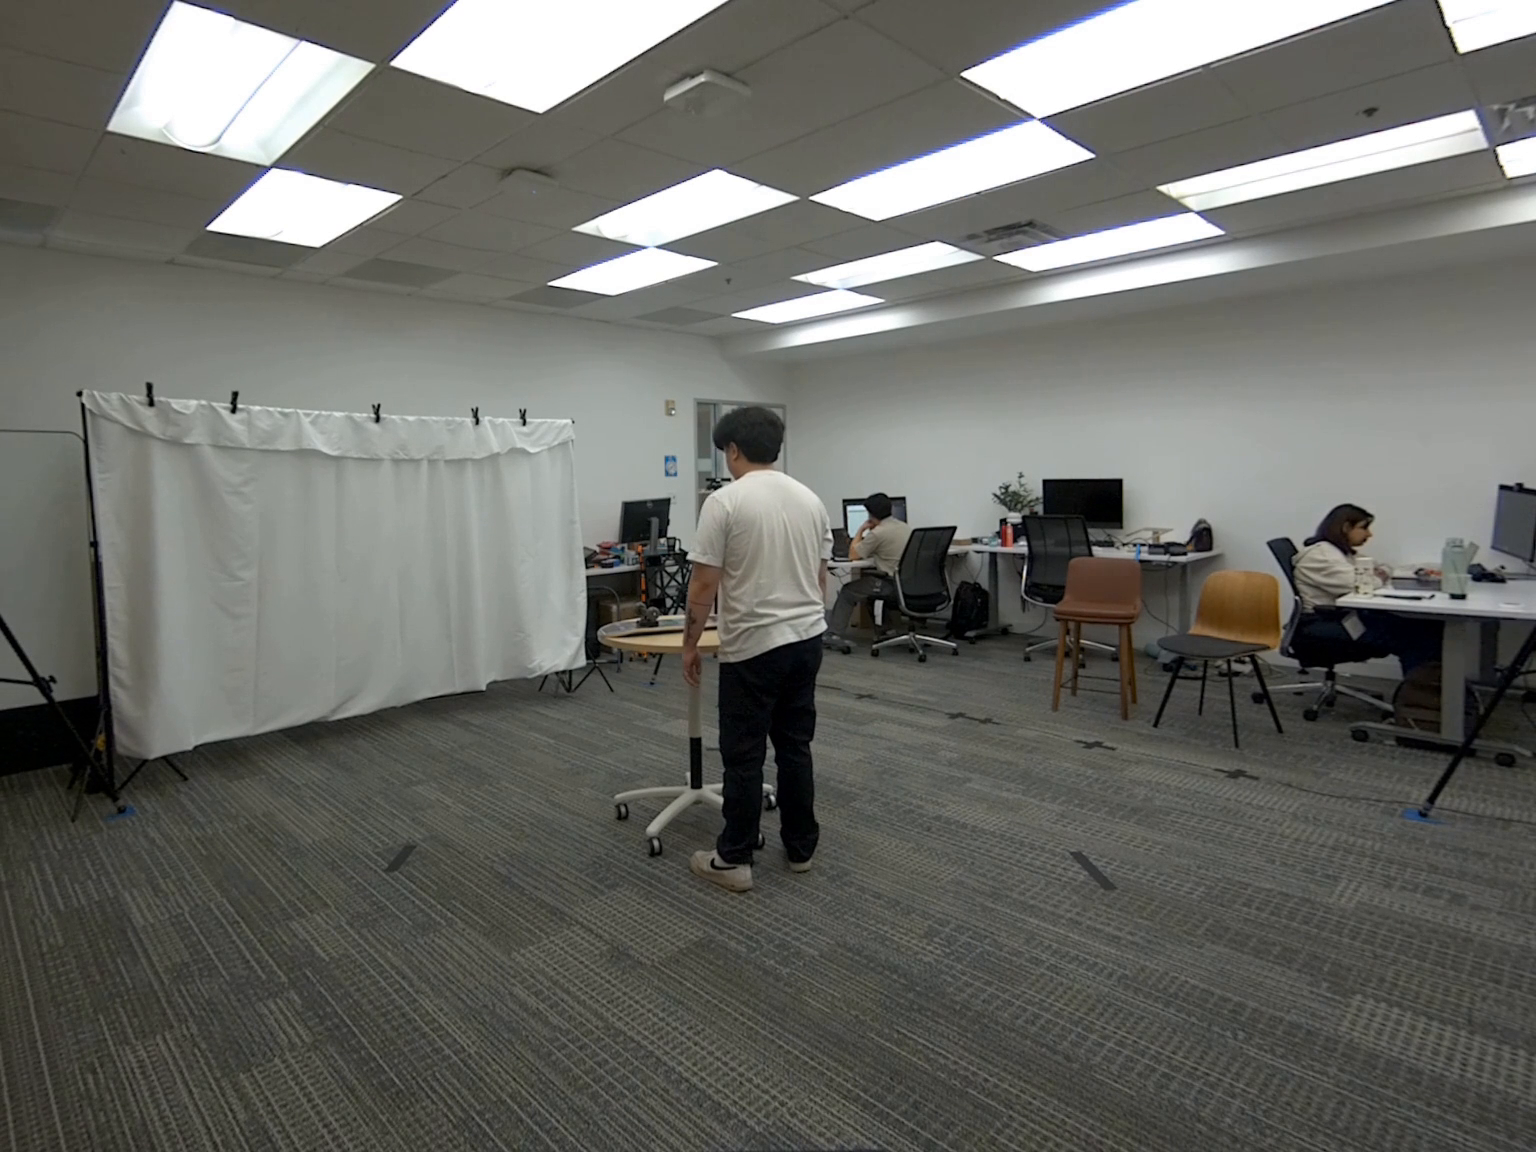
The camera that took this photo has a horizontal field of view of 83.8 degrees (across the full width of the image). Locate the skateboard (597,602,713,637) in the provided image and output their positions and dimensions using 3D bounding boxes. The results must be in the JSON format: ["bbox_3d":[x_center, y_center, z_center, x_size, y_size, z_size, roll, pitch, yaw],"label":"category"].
[{"bbox_3d":[-0.301,0.162,3.471,0.769,0.110,0.198,-4,5,-25],"label":"skateboard"}]
